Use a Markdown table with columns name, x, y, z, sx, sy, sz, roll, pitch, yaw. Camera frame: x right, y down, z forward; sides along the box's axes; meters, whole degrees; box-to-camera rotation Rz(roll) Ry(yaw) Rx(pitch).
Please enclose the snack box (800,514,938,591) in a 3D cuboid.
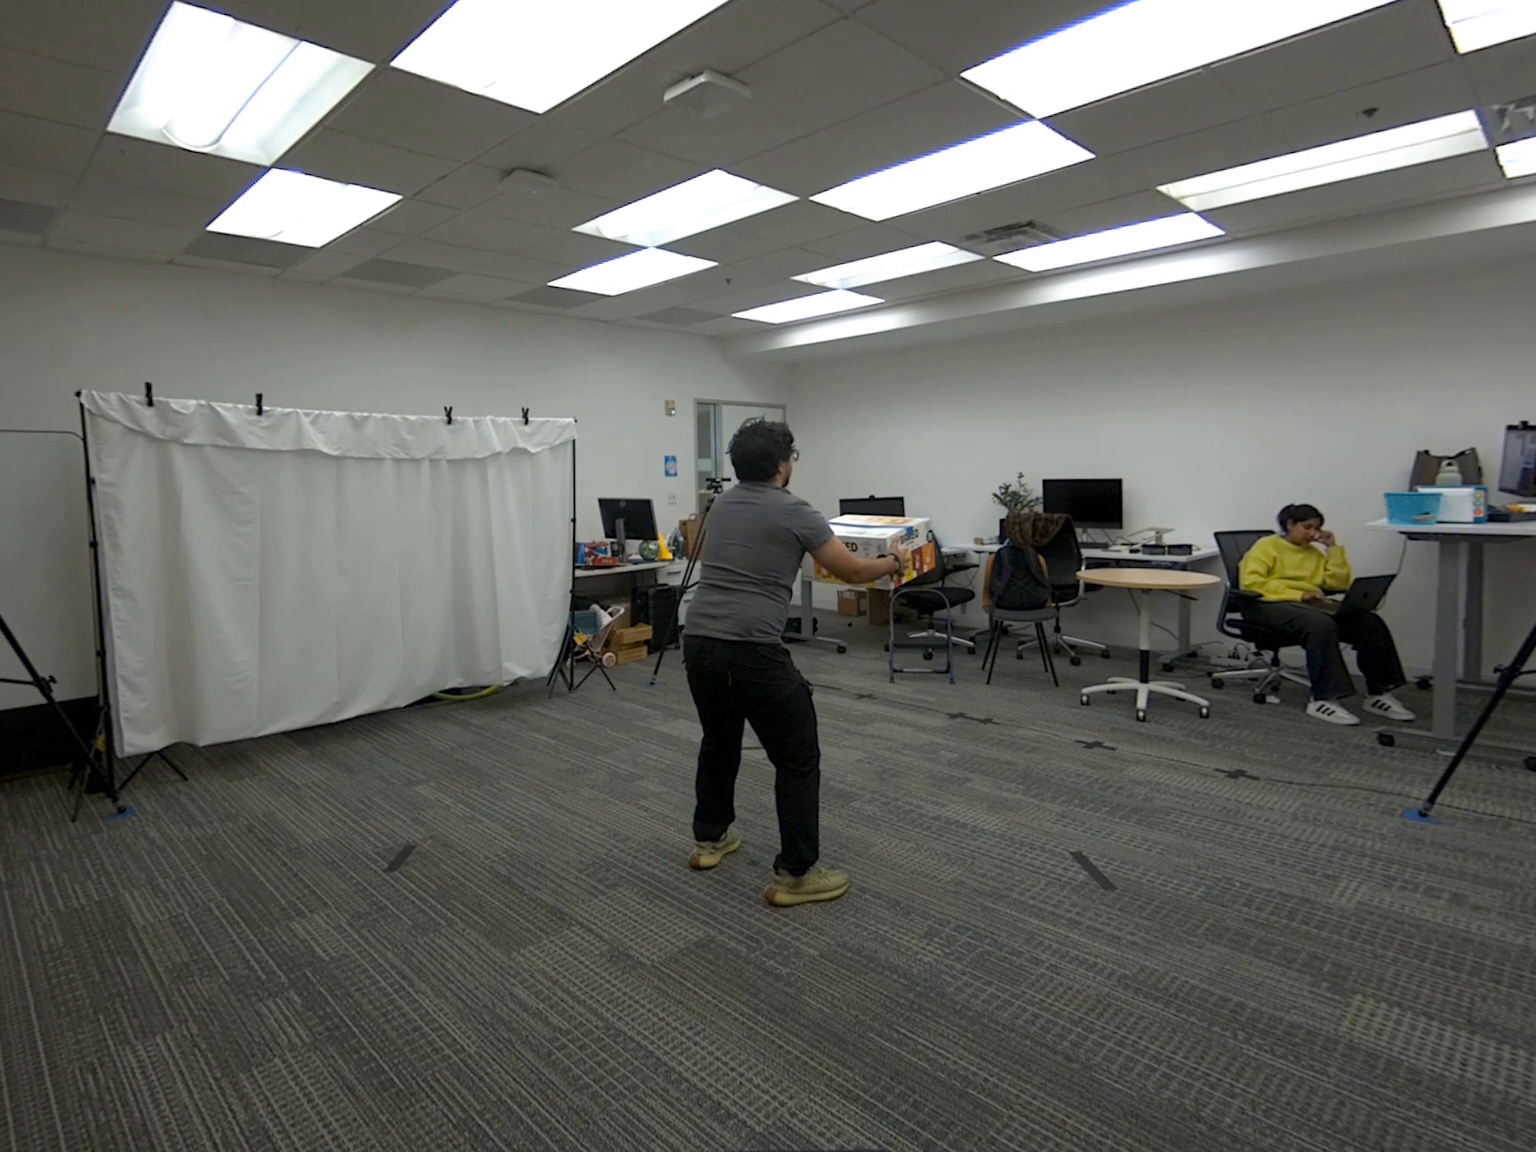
| name | x | y | z | sx | sy | sz | roll | pitch | yaw |
| --- | --- | --- | --- | --- | --- | --- | --- | --- | --- |
| snack box | 0.395 | -0.103 | 3.403 | 0.418 | 0.203 | 0.334 | 5 | 17 | 40 |
